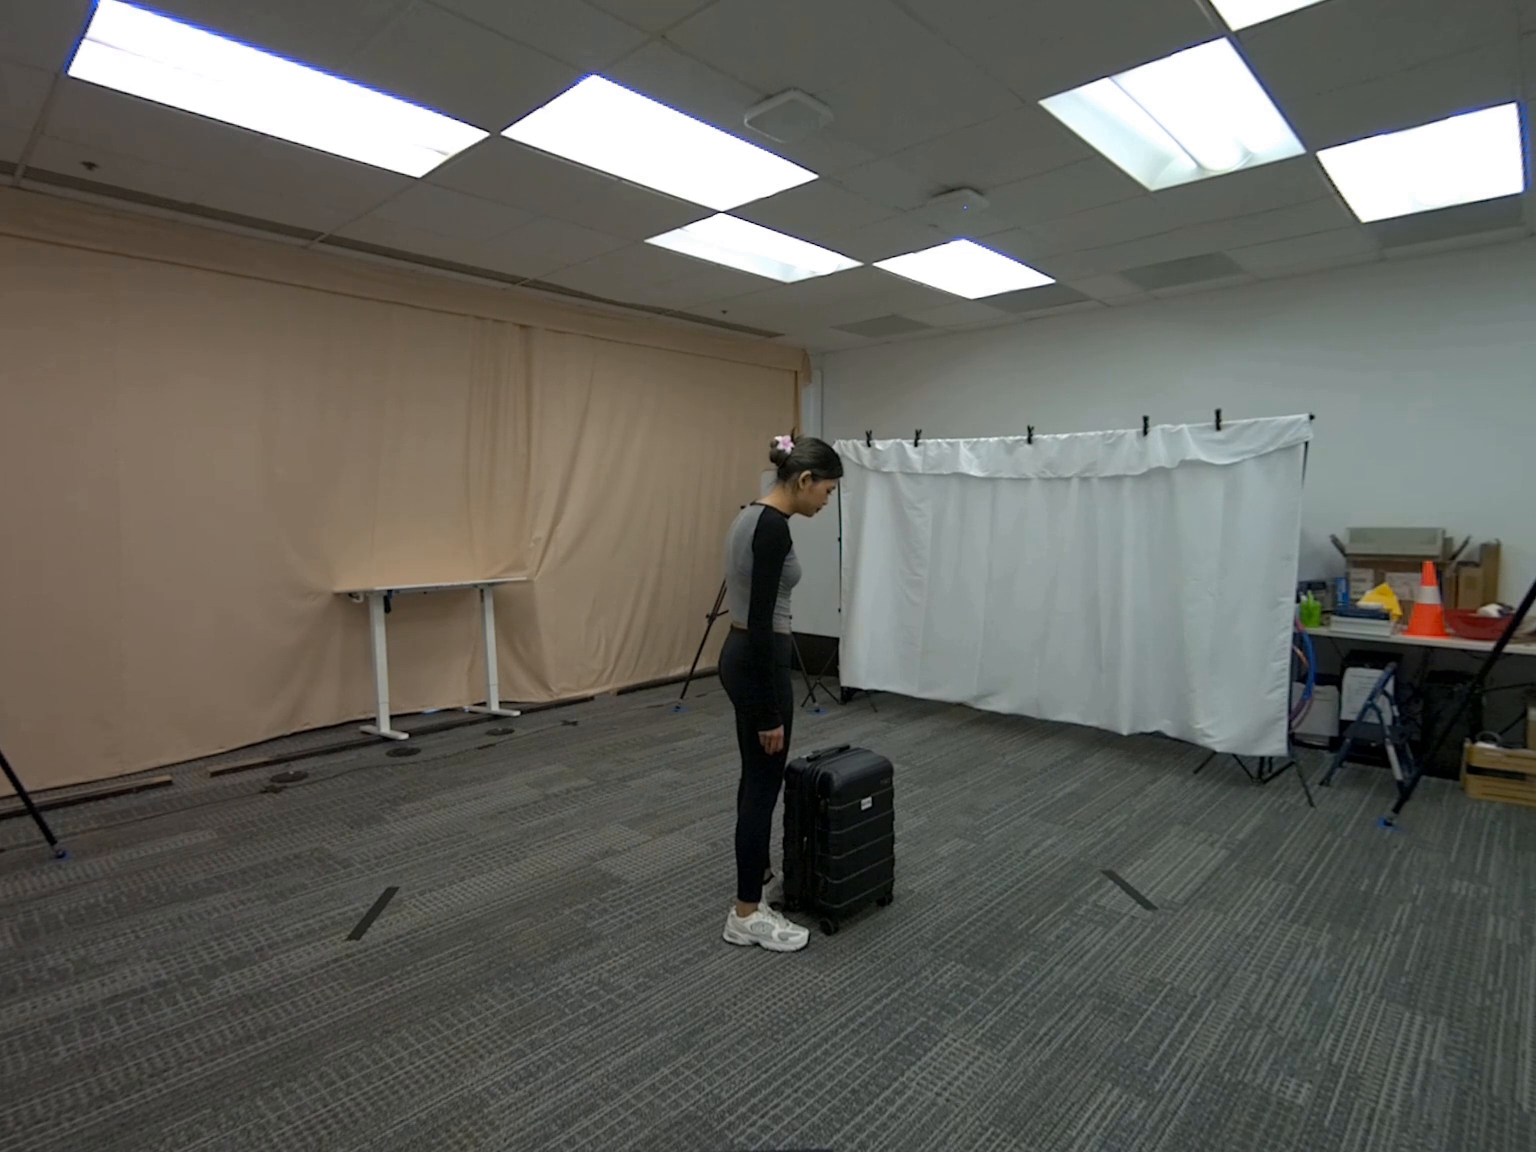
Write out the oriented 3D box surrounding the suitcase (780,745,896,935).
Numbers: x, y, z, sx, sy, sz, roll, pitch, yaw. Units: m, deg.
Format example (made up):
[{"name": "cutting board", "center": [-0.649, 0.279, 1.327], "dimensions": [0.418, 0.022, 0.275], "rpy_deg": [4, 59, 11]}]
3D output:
[{"name": "suitcase", "center": [0.253, 0.875, 2.890], "dimensions": [0.257, 0.548, 0.364], "rpy_deg": [6, 7, 45]}]
